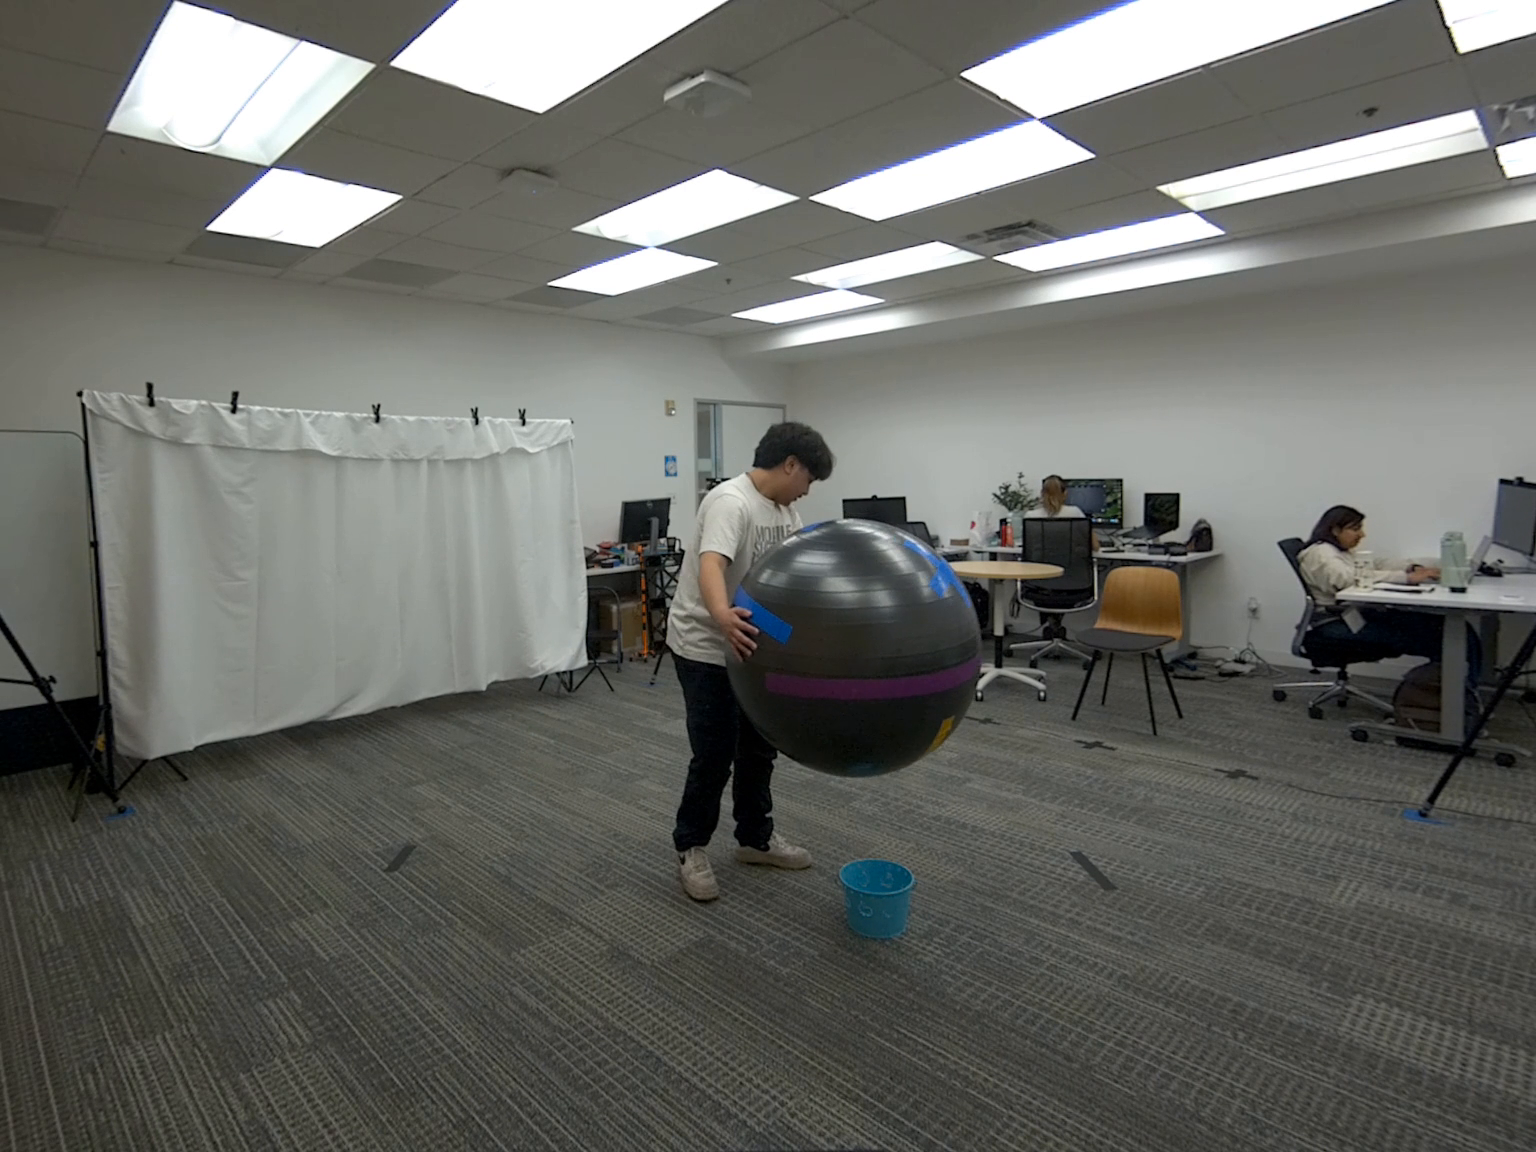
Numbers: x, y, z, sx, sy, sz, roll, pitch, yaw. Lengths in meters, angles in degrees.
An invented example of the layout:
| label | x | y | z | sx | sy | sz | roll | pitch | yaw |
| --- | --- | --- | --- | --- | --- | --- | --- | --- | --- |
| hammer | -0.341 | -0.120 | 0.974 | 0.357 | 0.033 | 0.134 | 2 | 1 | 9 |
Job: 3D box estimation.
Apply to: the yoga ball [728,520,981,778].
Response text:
| label | x | y | z | sx | sy | sz | roll | pitch | yaw |
| --- | --- | --- | --- | --- | --- | --- | --- | --- | --- |
| yoga ball | 0.257 | 0.223 | 2.541 | 0.757 | 0.755 | 0.762 | -1 | 5 | -2 |
